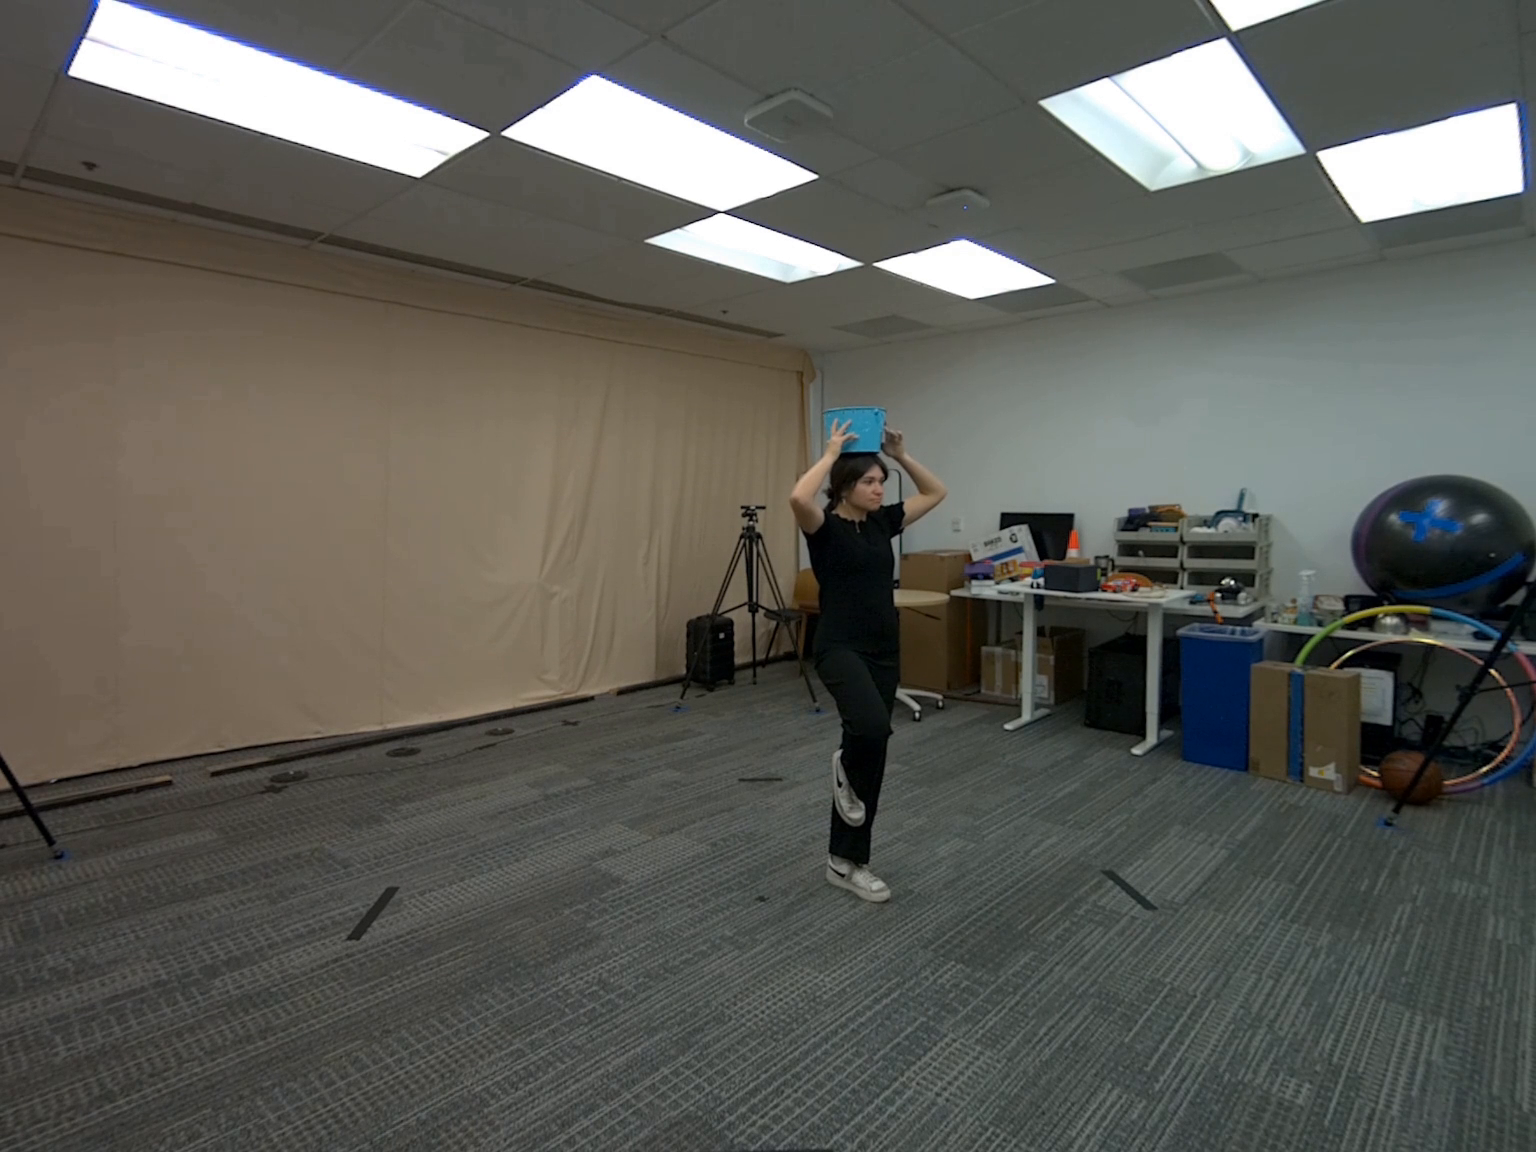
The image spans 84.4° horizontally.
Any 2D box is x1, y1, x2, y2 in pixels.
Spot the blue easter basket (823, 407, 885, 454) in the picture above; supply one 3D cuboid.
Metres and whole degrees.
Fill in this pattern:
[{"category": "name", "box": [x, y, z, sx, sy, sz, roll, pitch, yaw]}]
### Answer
[{"category": "blue easter basket", "box": [0.320, -0.520, 3.038, 0.243, 0.155, 0.244, -1, 3, -2]}]
